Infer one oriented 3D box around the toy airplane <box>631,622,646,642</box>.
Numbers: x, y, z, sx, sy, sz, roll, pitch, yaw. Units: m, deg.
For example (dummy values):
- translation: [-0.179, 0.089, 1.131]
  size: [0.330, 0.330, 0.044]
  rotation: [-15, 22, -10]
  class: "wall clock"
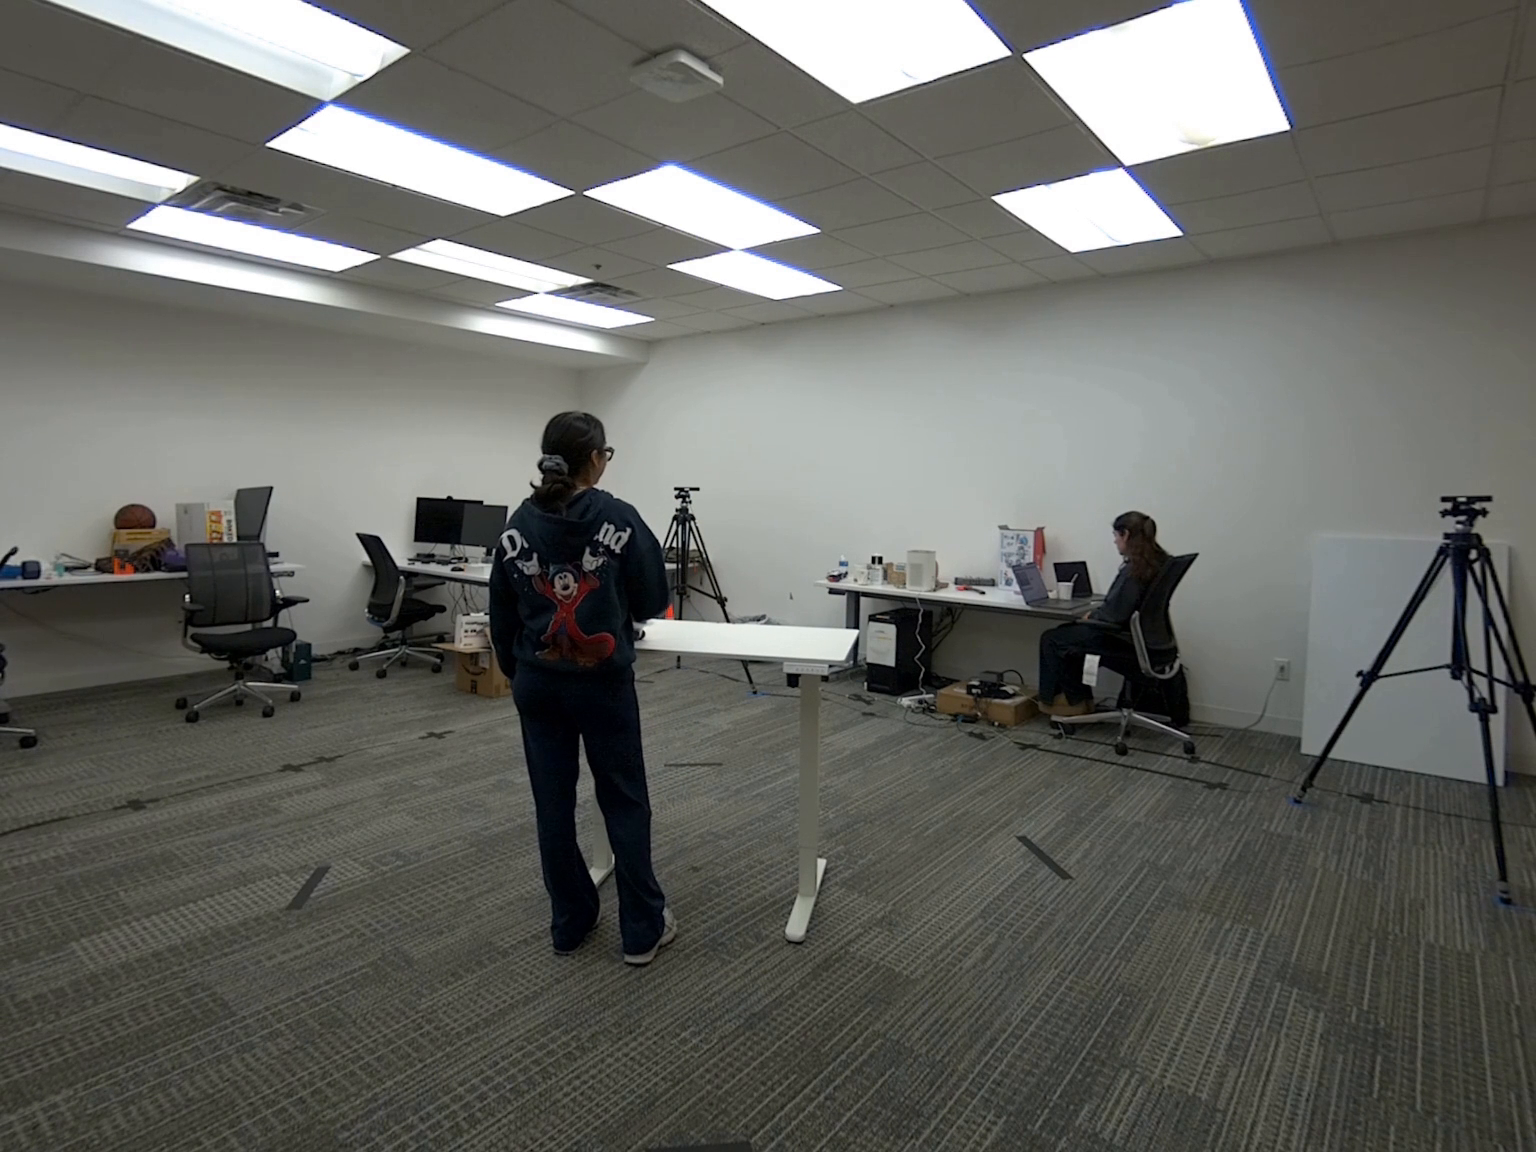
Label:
- translation: [-0.507, 0.128, 2.880]
  size: [0.258, 0.156, 0.253]
  rotation: [-1, 4, -4]
  class: "toy airplane"
